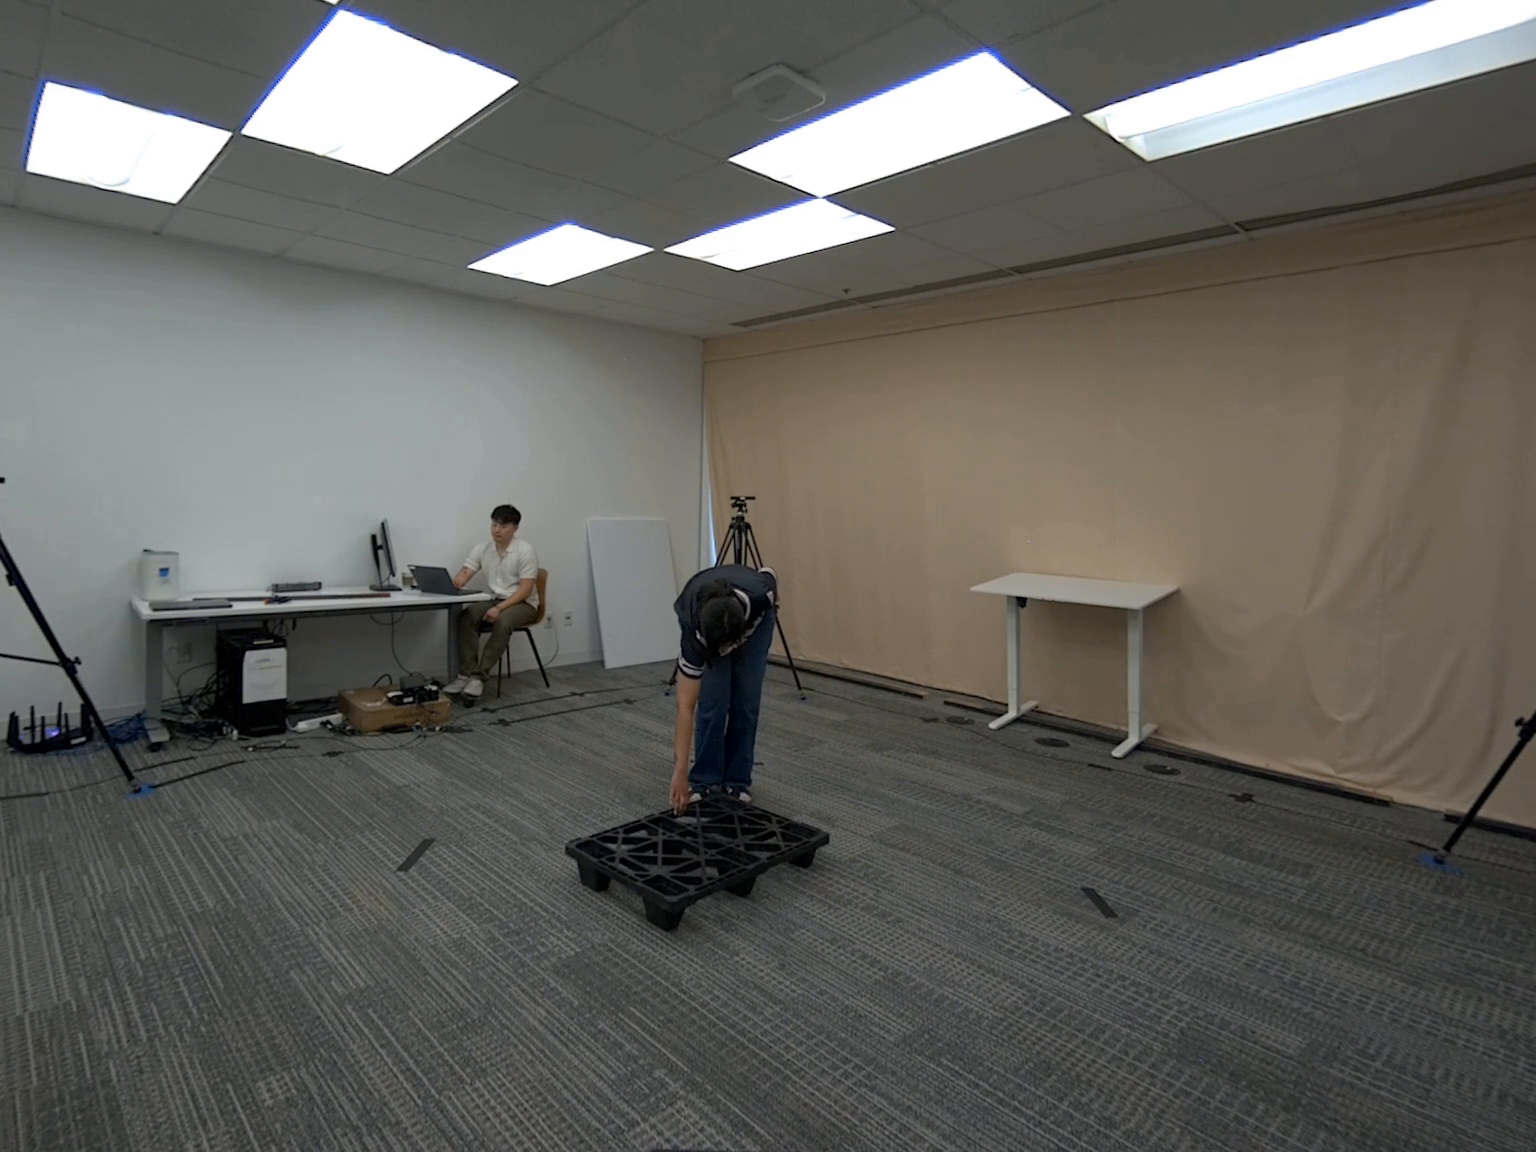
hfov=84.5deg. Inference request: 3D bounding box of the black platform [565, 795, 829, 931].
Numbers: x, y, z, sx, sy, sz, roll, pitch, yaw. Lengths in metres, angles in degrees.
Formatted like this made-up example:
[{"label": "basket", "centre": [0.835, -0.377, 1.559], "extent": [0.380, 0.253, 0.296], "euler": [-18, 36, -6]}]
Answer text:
[{"label": "black platform", "centre": [-0.262, 1.033, 3.105], "extent": [0.620, 0.143, 0.787], "euler": [6, 7, 43]}]
